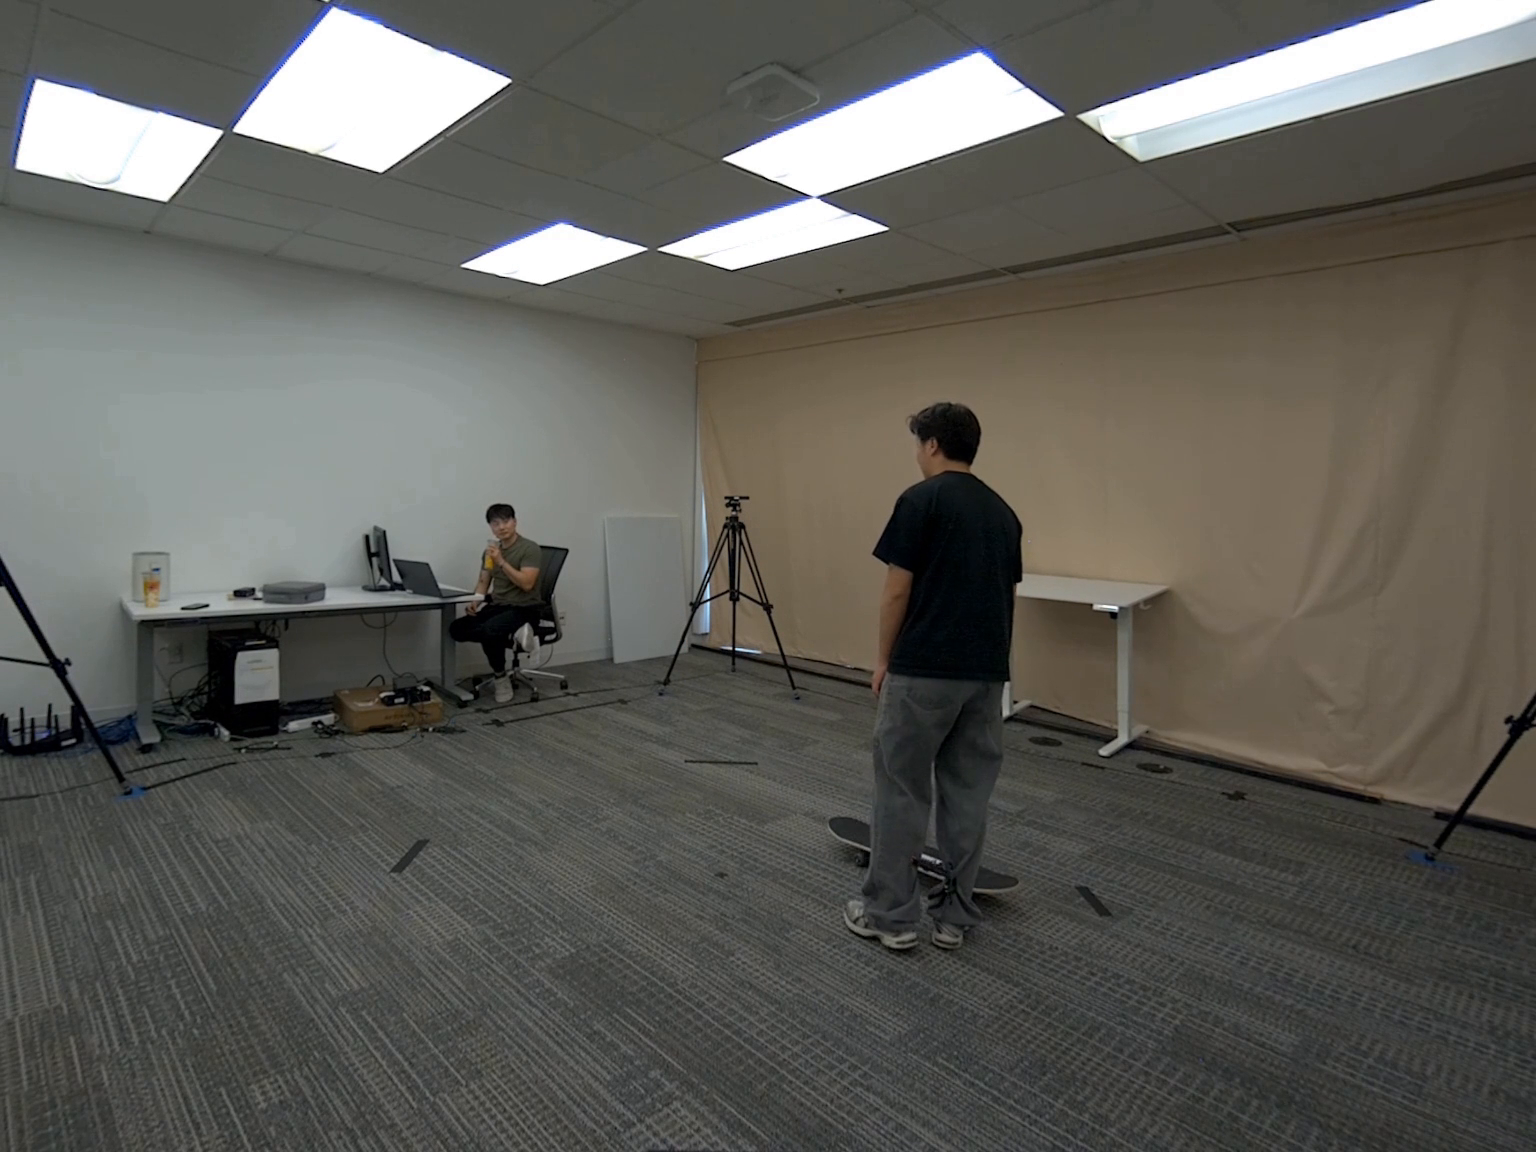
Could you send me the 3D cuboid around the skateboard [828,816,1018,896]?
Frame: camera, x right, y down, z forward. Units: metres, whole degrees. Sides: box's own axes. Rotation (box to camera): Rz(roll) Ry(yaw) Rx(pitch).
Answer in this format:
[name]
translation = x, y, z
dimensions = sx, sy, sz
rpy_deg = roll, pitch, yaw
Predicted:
[skateboard]
translation = 0.542, 1.064, 3.119
dimensions = 0.189, 0.110, 0.806
rpy_deg = -1, 6, -44
